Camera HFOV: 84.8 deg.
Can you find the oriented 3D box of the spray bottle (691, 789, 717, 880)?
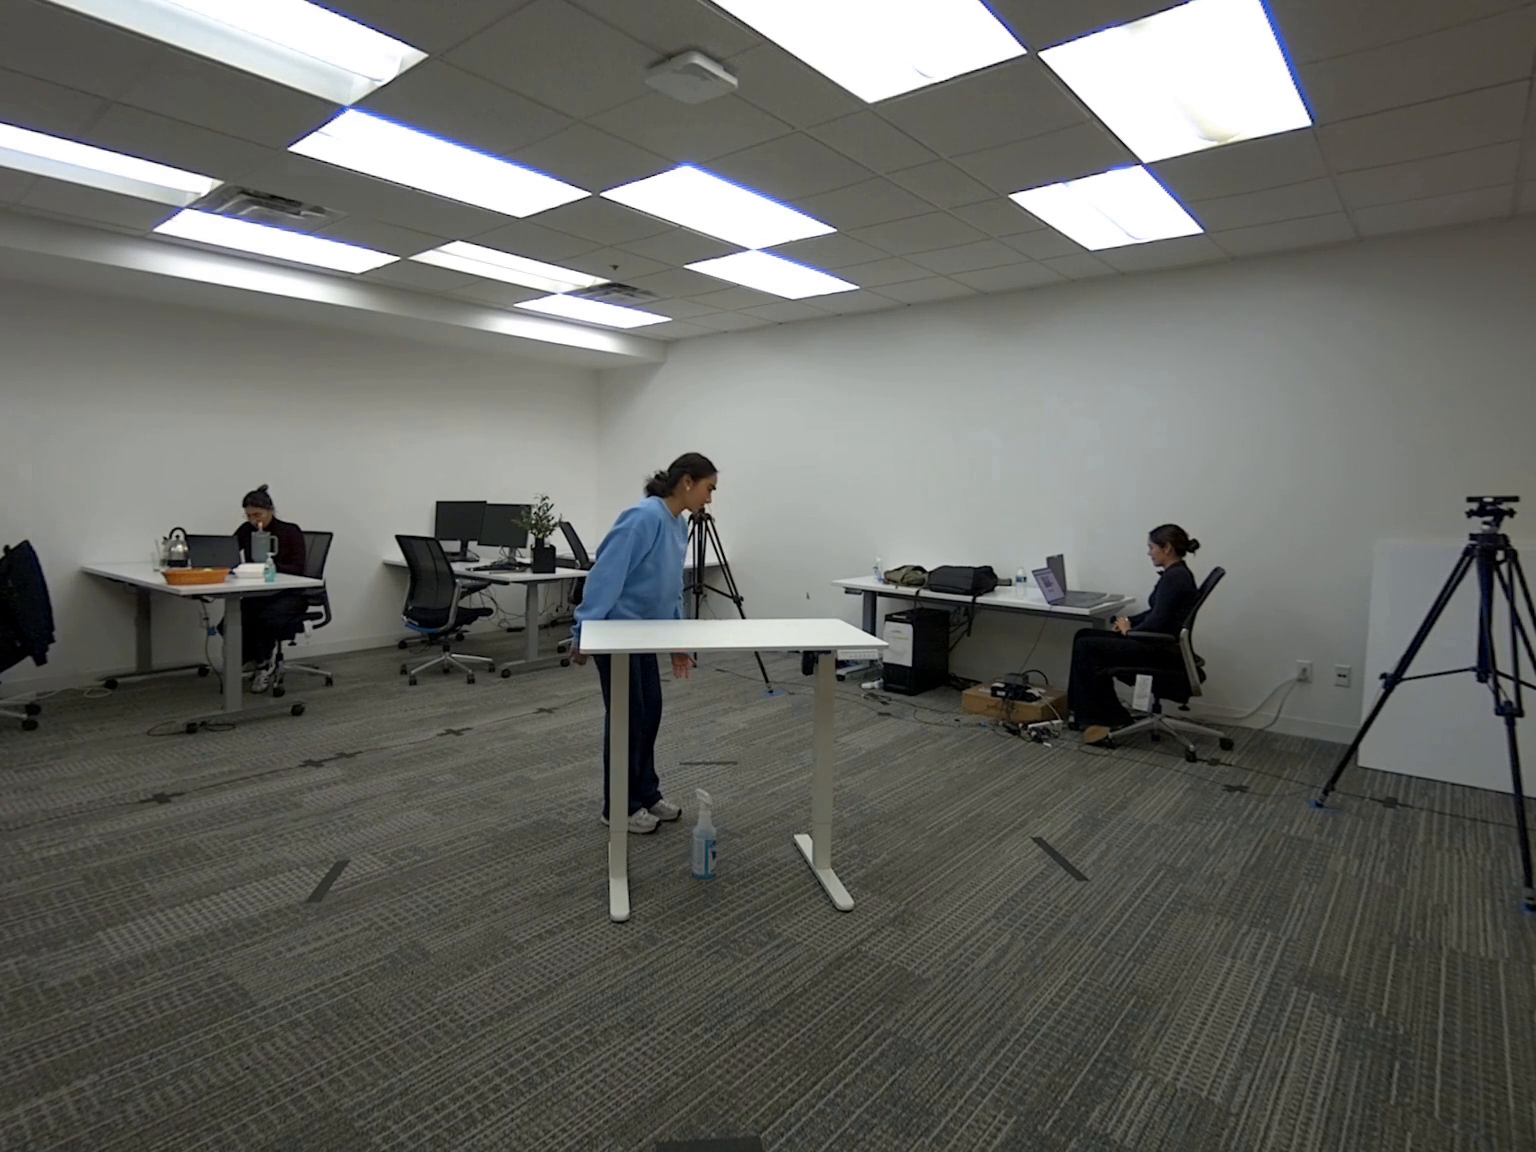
[{"bbox_3d":[-0.238,0.923,3.061,0.086,0.296,0.091,-2,4,-13],"label":"spray bottle"}]
